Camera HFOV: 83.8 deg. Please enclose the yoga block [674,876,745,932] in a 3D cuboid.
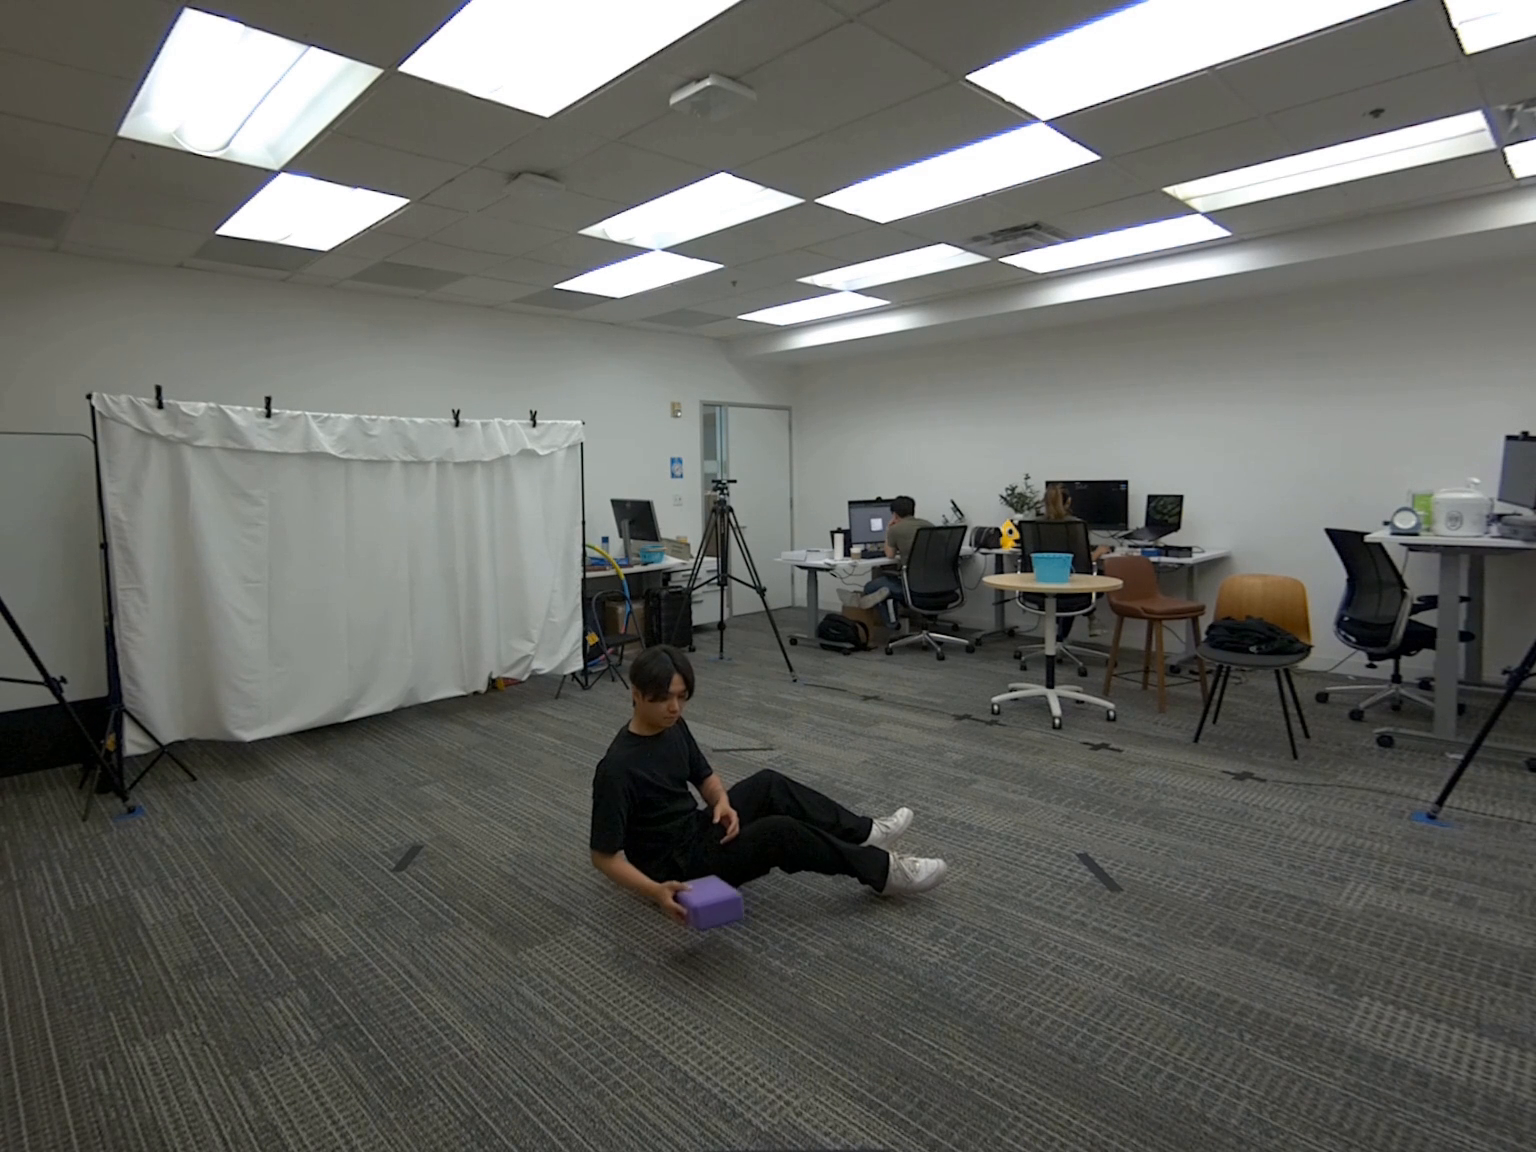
[{"bbox_3d":[-0.176,0.941,2.476,0.146,0.077,0.232,-6,-2,-21],"label":"yoga block"}]
